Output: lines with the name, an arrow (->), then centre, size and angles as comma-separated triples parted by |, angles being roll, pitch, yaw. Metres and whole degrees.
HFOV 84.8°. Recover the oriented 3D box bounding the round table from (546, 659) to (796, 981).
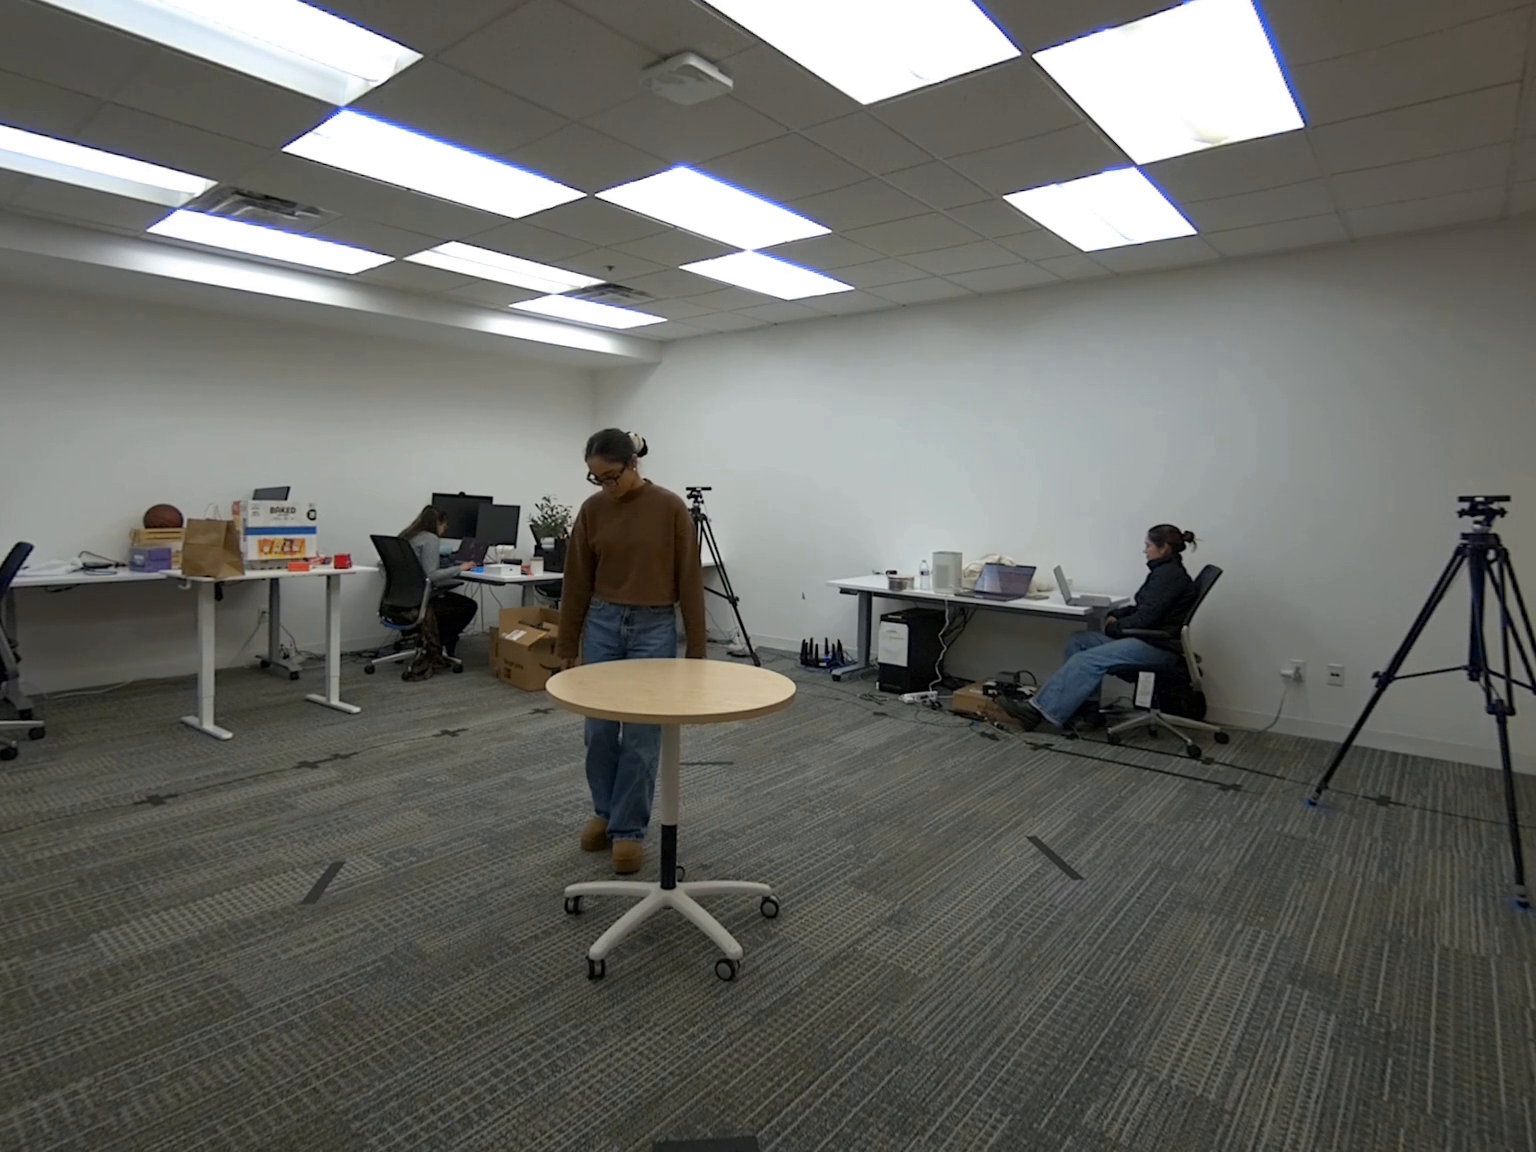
round table -> -0.313, 0.721, 2.651 | 0.763, 0.791, 0.768 | 1, 4, -2
